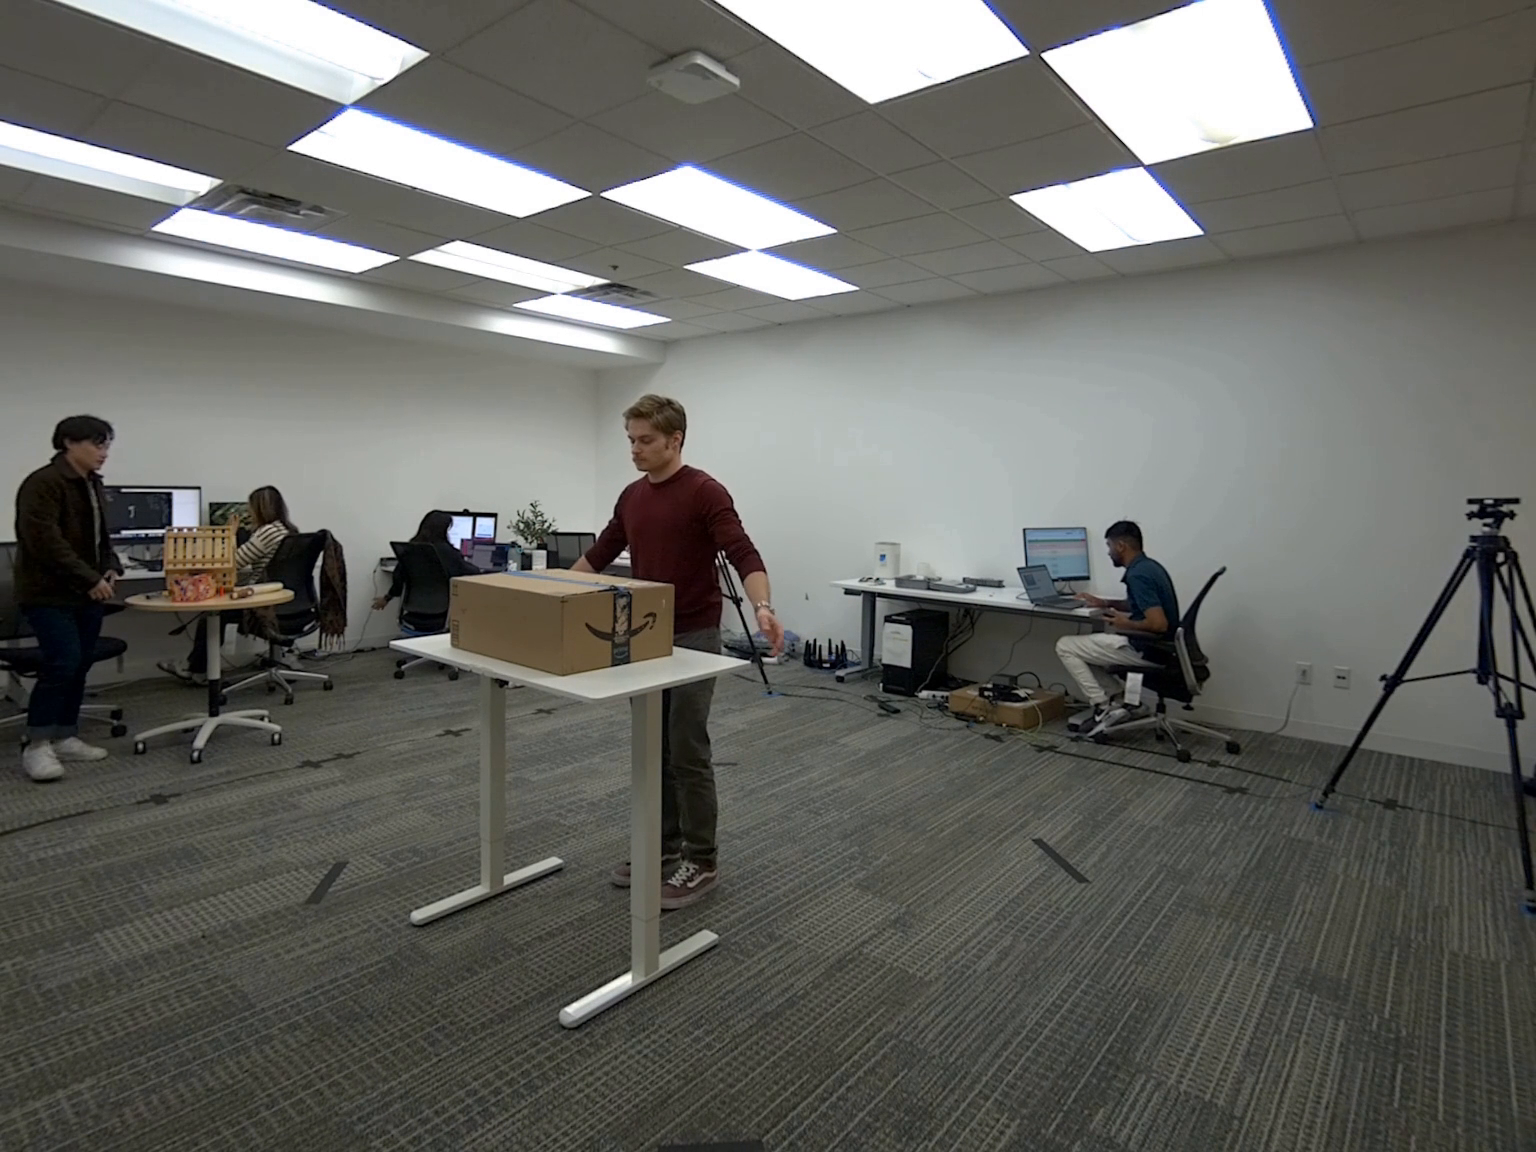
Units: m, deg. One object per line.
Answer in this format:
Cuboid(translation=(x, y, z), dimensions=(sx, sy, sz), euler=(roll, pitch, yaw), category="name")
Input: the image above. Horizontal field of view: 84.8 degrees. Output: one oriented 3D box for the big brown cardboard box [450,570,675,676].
Cuboid(translation=(-0.638, 0.118, 2.588), dimensions=(0.609, 0.232, 0.405), euler=(5, 7, 40), category="big brown cardboard box")
